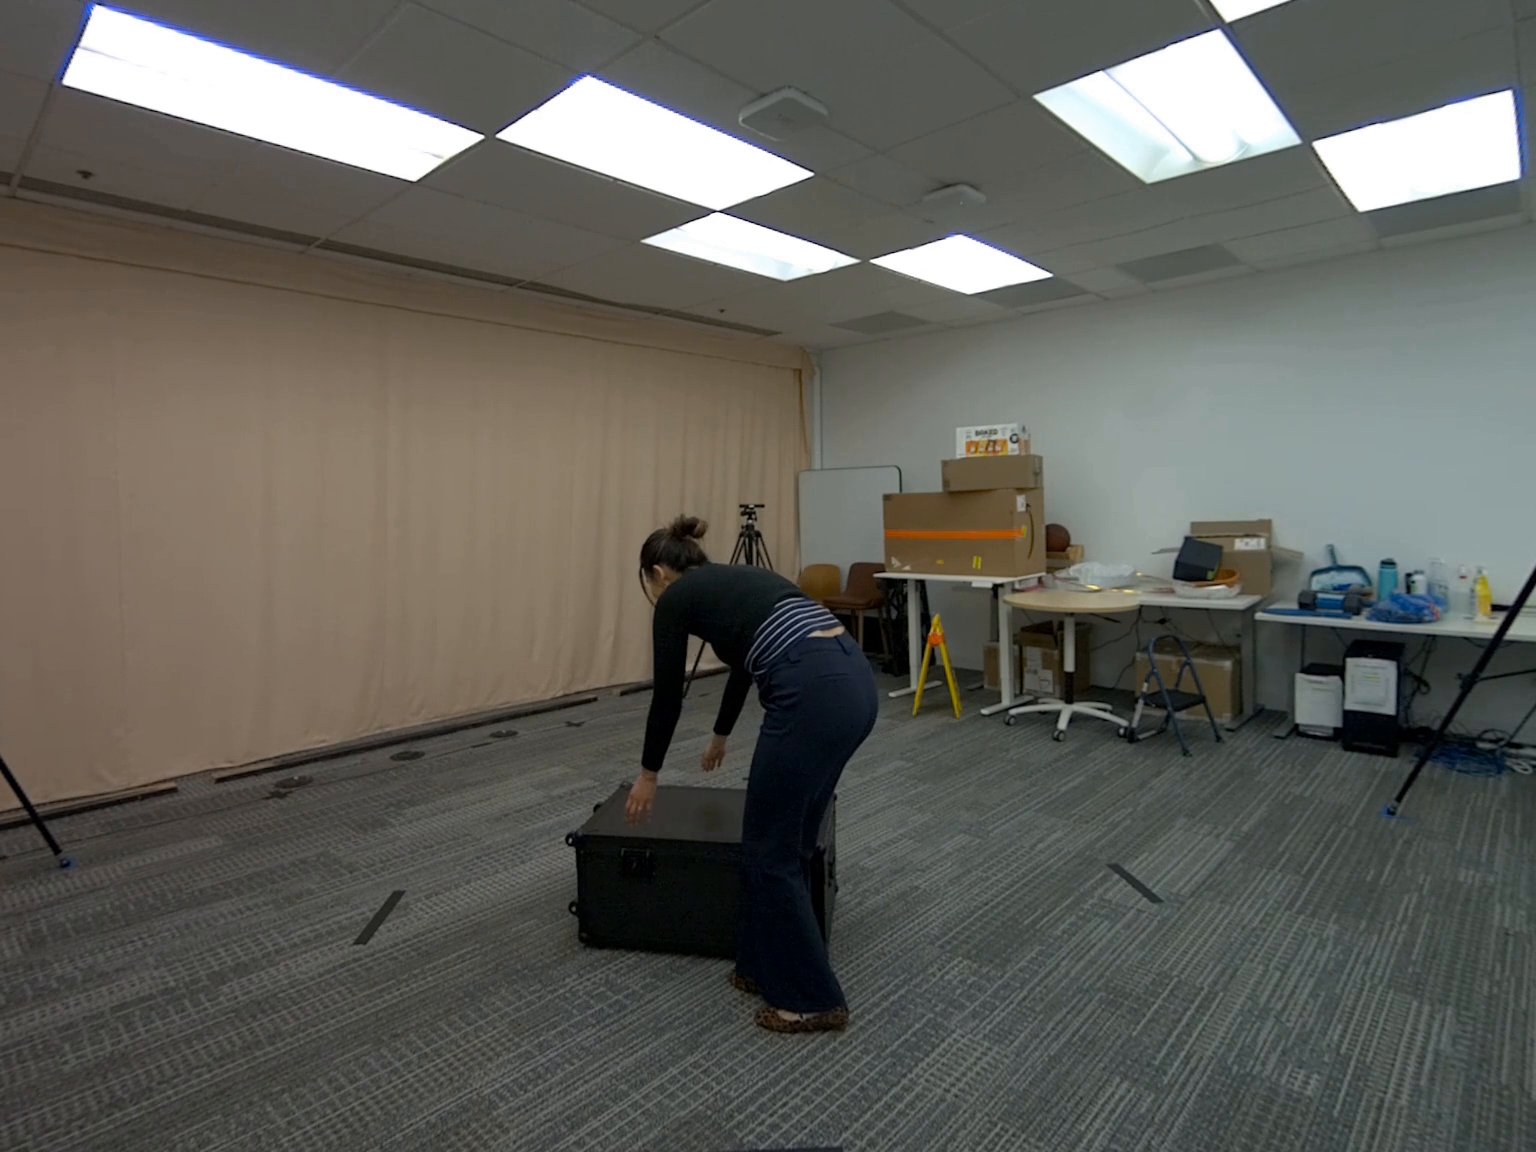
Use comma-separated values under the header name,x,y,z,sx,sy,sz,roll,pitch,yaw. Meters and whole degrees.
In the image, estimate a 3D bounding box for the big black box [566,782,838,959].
name,x,y,z,sx,sy,sz,roll,pitch,yaw
big black box,-0.212,0.965,2.814,0.872,0.395,0.516,0,5,11
